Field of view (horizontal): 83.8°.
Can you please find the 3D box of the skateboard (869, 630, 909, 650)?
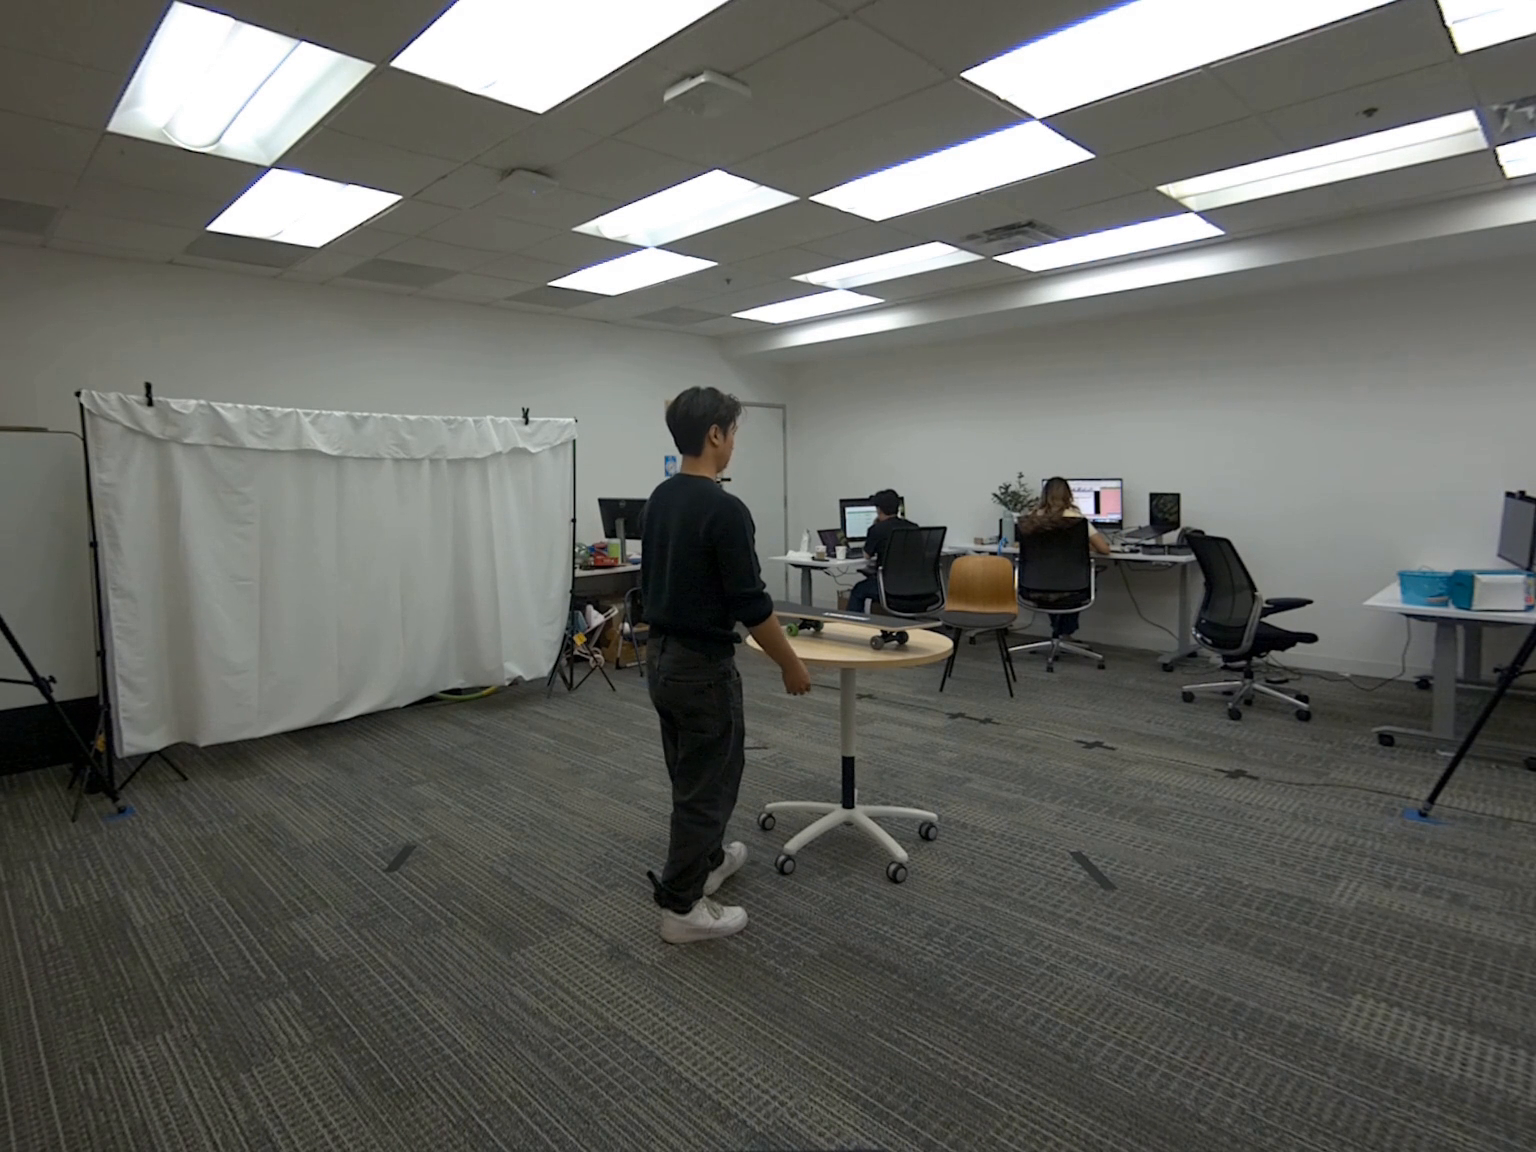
[{"bbox_3d":[0.298,0.193,3.191,0.810,0.110,0.188,5,8,44],"label":"skateboard"}]
